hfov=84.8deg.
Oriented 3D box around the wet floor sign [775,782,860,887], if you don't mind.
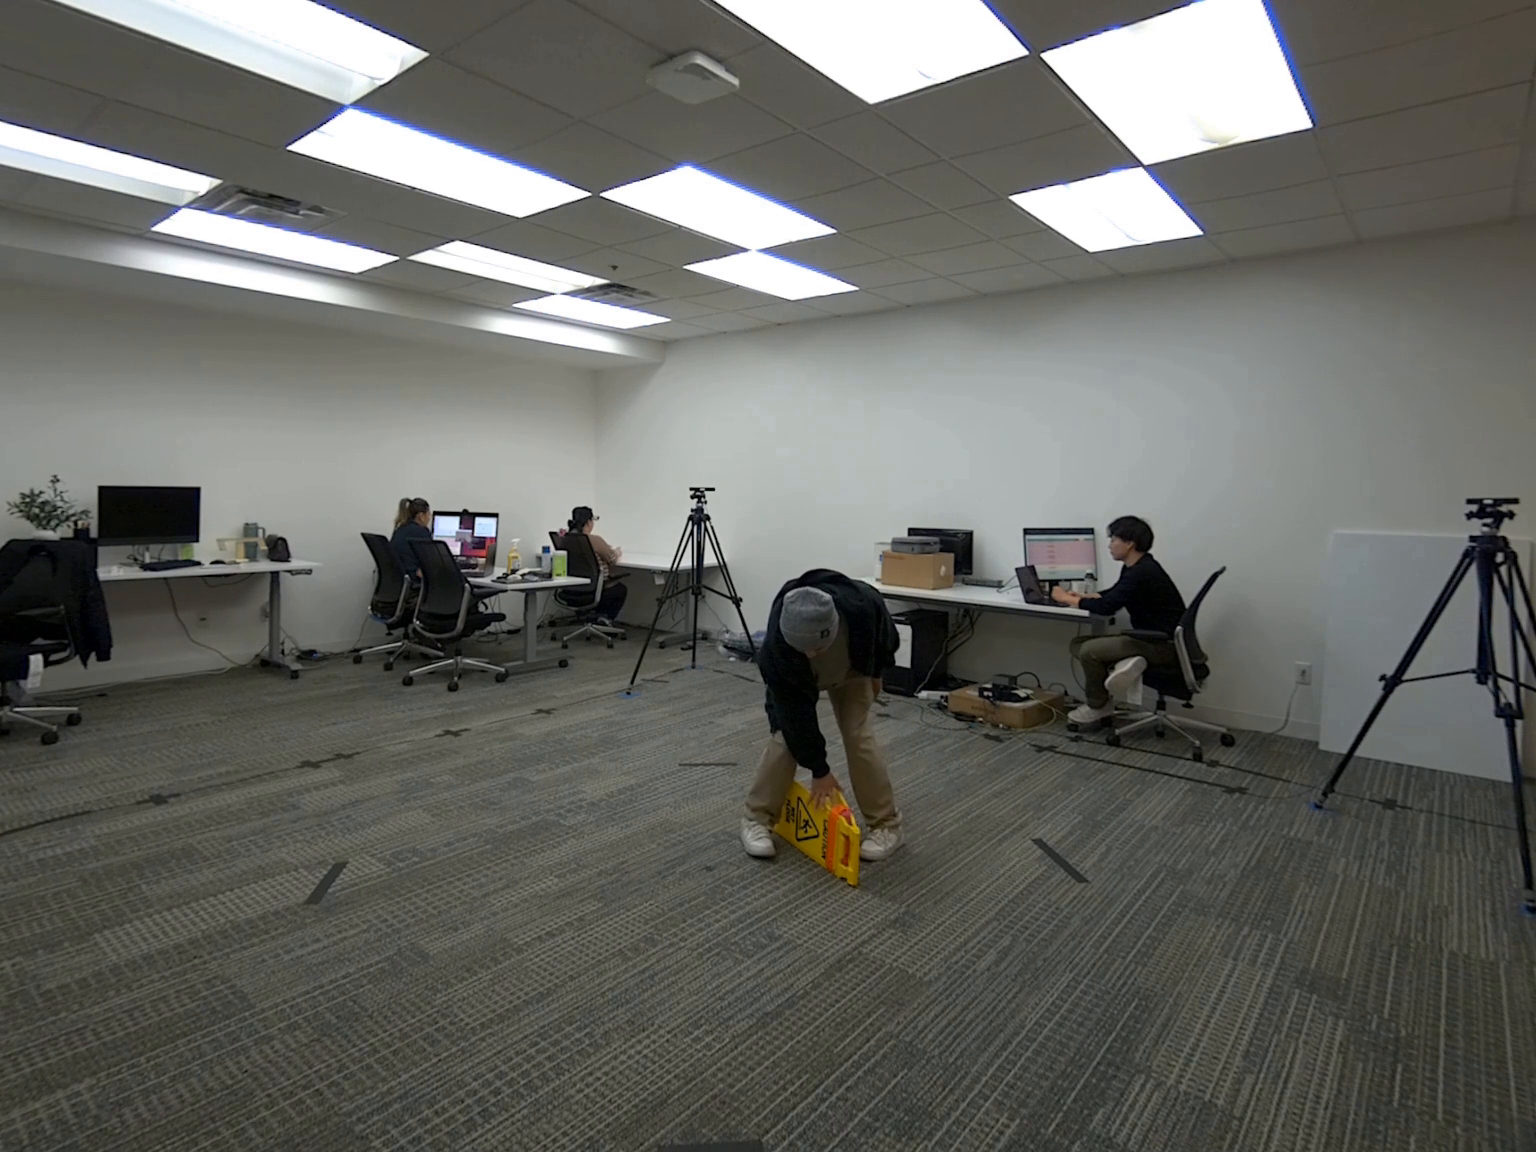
[{"bbox_3d":[0.207,0.934,3.278,0.284,0.280,0.662,1,8,-18],"label":"wet floor sign"}]
